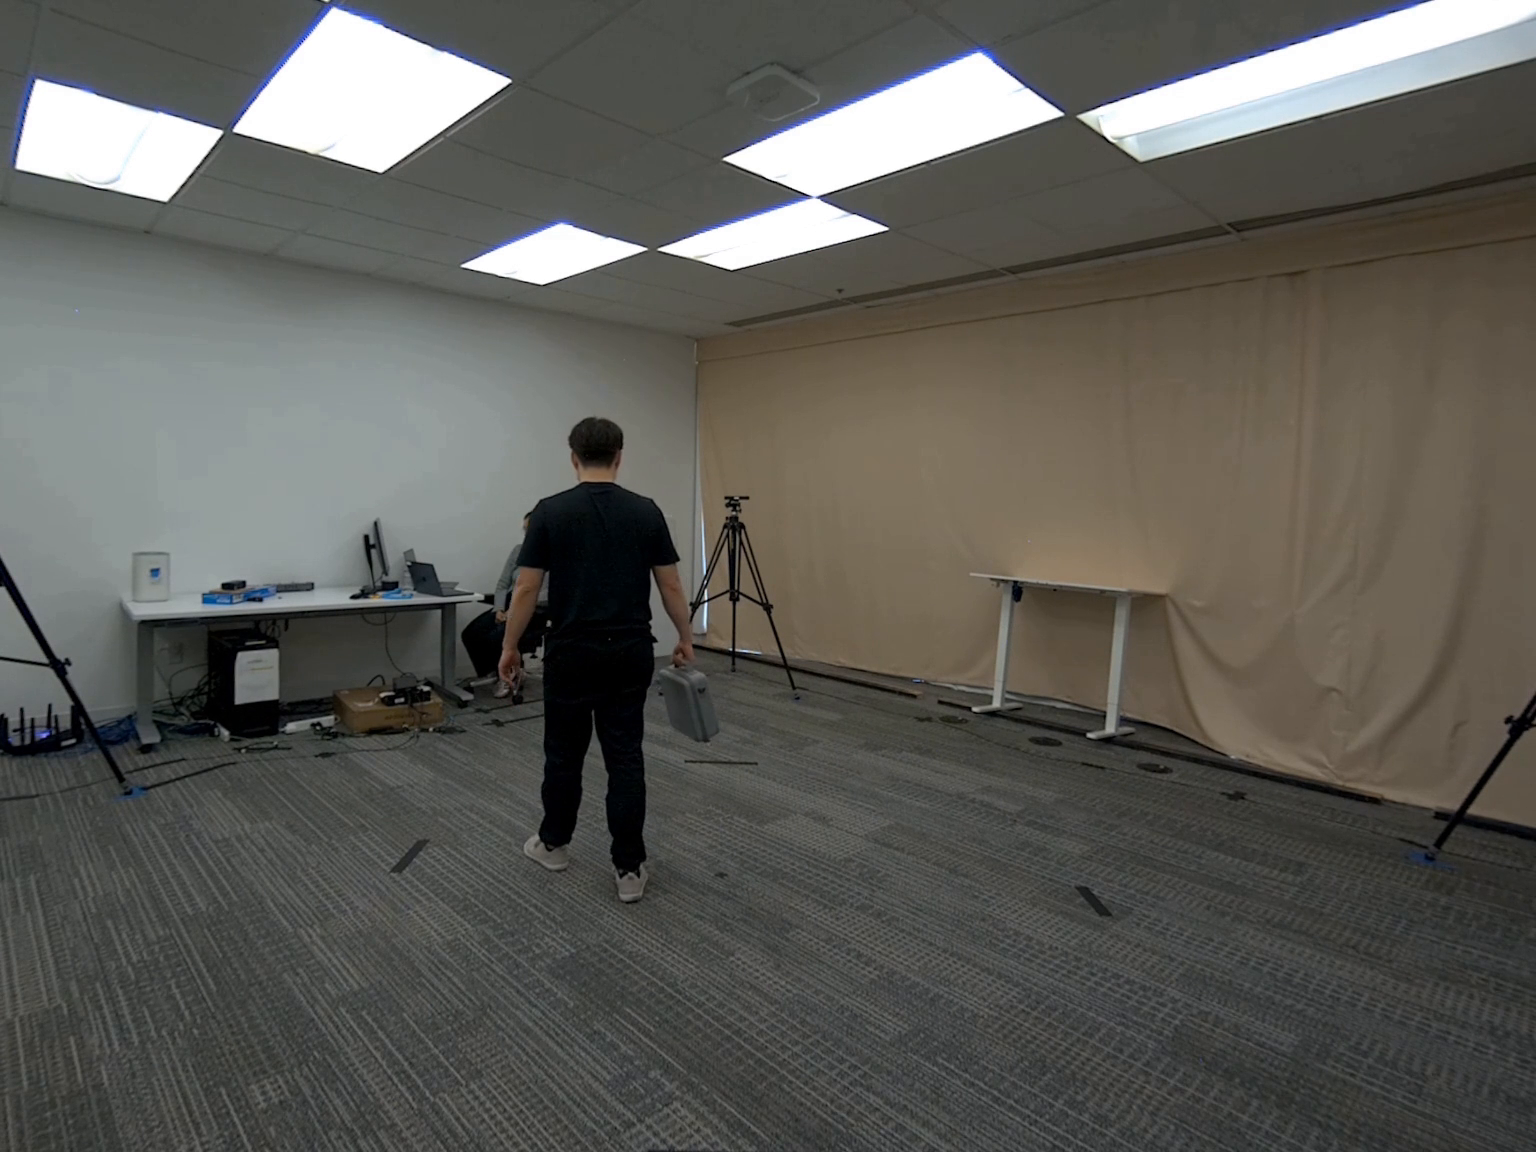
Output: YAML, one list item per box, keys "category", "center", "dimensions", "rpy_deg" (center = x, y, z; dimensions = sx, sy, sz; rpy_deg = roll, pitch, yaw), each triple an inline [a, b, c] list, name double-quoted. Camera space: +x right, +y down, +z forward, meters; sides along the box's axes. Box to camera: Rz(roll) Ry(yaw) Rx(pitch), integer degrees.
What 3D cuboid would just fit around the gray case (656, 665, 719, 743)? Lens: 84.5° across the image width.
- category: "gray case"
  center: [-0.320, 0.473, 3.196]
  dimensions: [0.103, 0.258, 0.262]
  rpy_deg: [-15, 12, -24]
